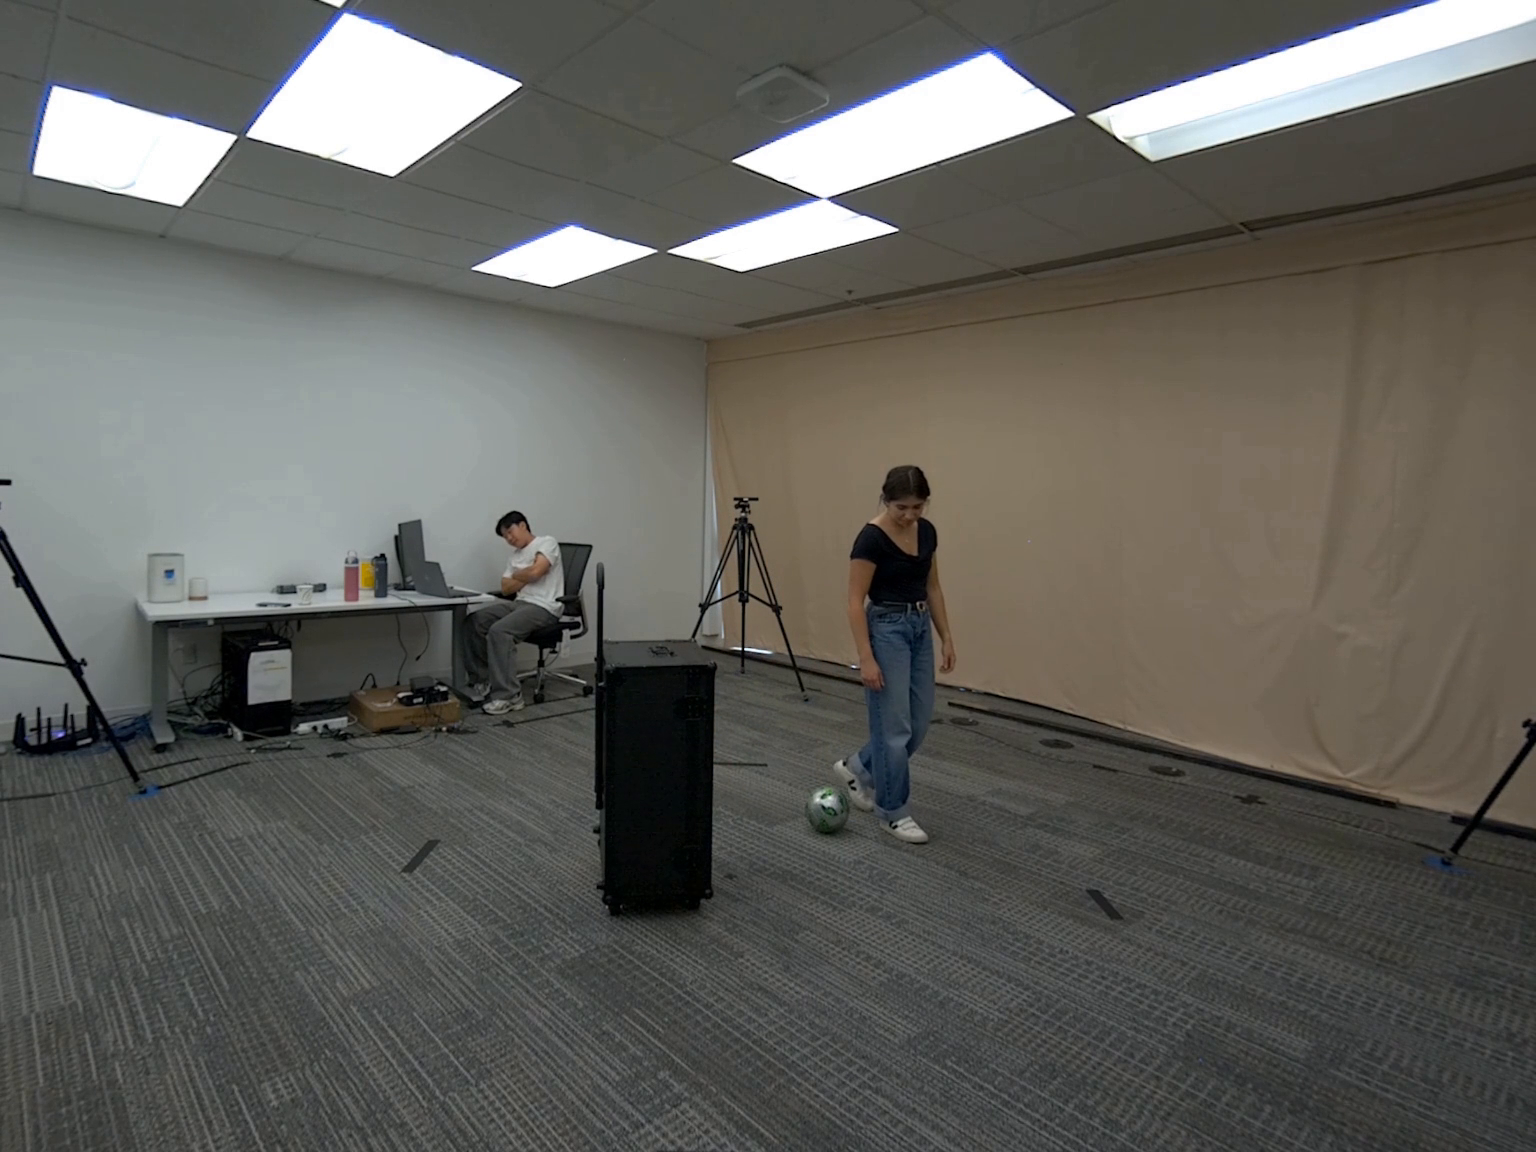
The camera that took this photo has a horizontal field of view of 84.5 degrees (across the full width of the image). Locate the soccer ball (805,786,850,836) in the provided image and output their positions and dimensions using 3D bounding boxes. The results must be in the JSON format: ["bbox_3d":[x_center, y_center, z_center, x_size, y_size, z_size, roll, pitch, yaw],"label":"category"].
[{"bbox_3d":[0.240,0.986,3.551,0.187,0.187,0.188,1,4,-1],"label":"soccer ball"}]
